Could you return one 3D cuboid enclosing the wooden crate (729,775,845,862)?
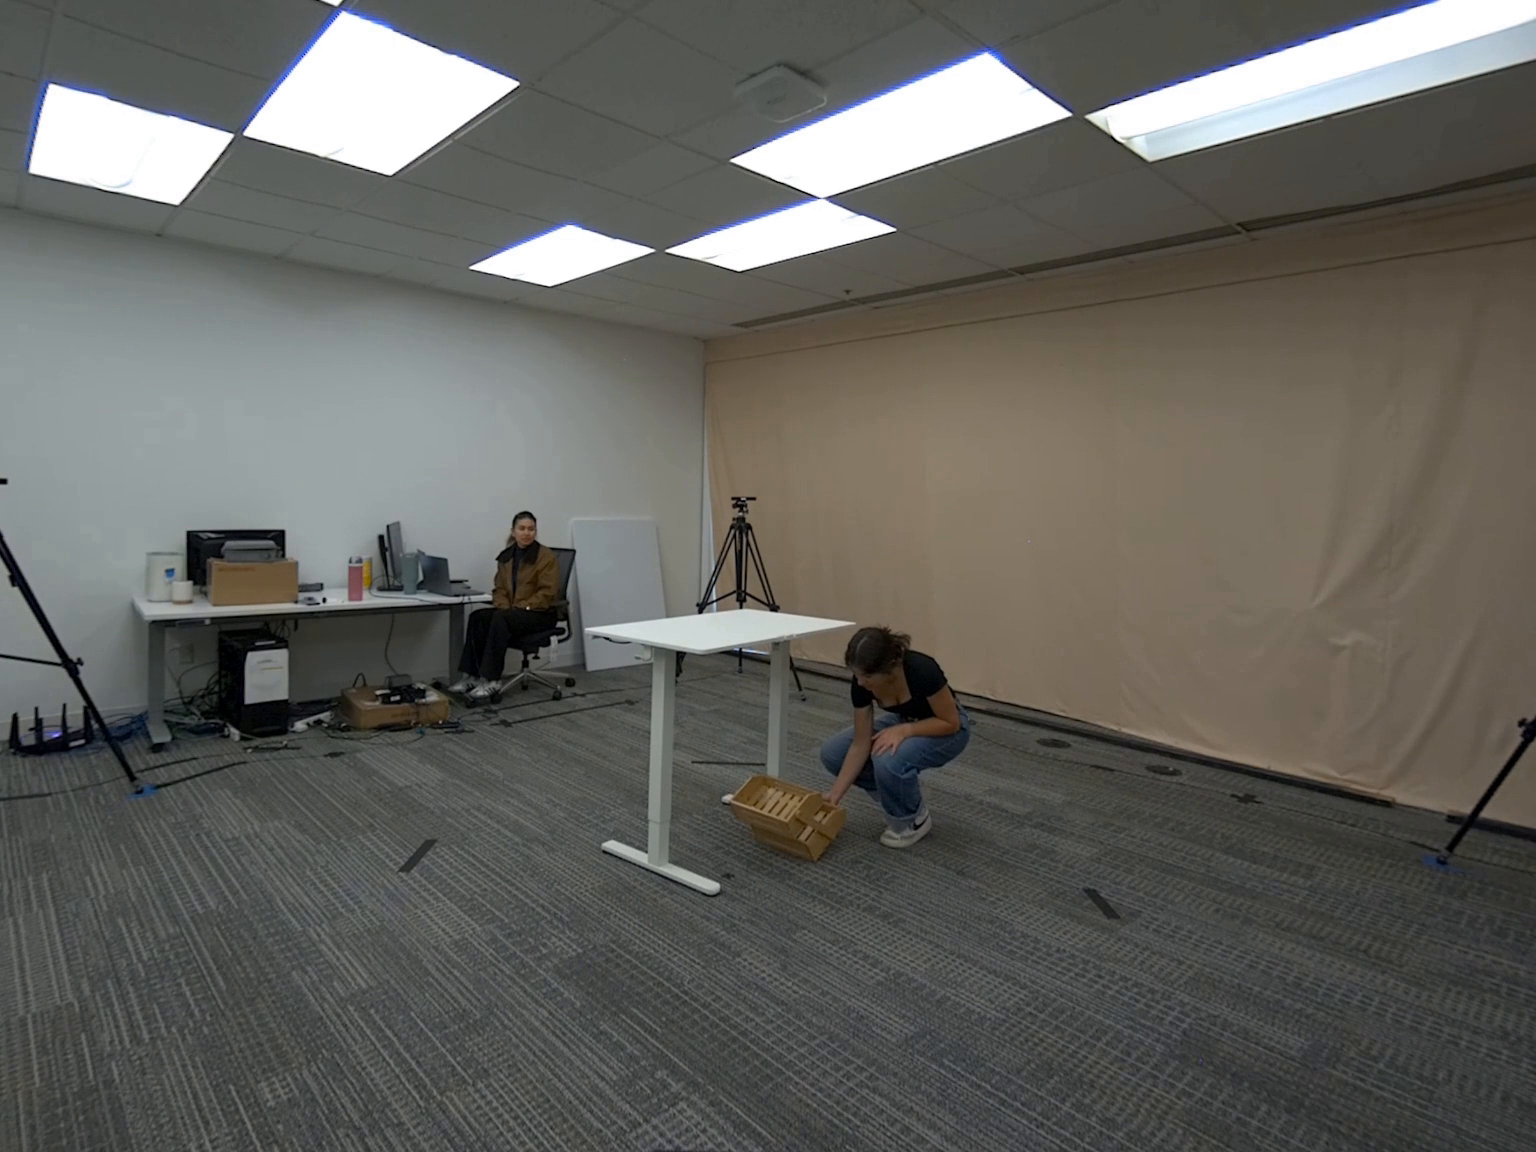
[{"bbox_3d":[0.074,0.927,3.341,0.332,0.267,0.301,2,33,41],"label":"wooden crate"}]
